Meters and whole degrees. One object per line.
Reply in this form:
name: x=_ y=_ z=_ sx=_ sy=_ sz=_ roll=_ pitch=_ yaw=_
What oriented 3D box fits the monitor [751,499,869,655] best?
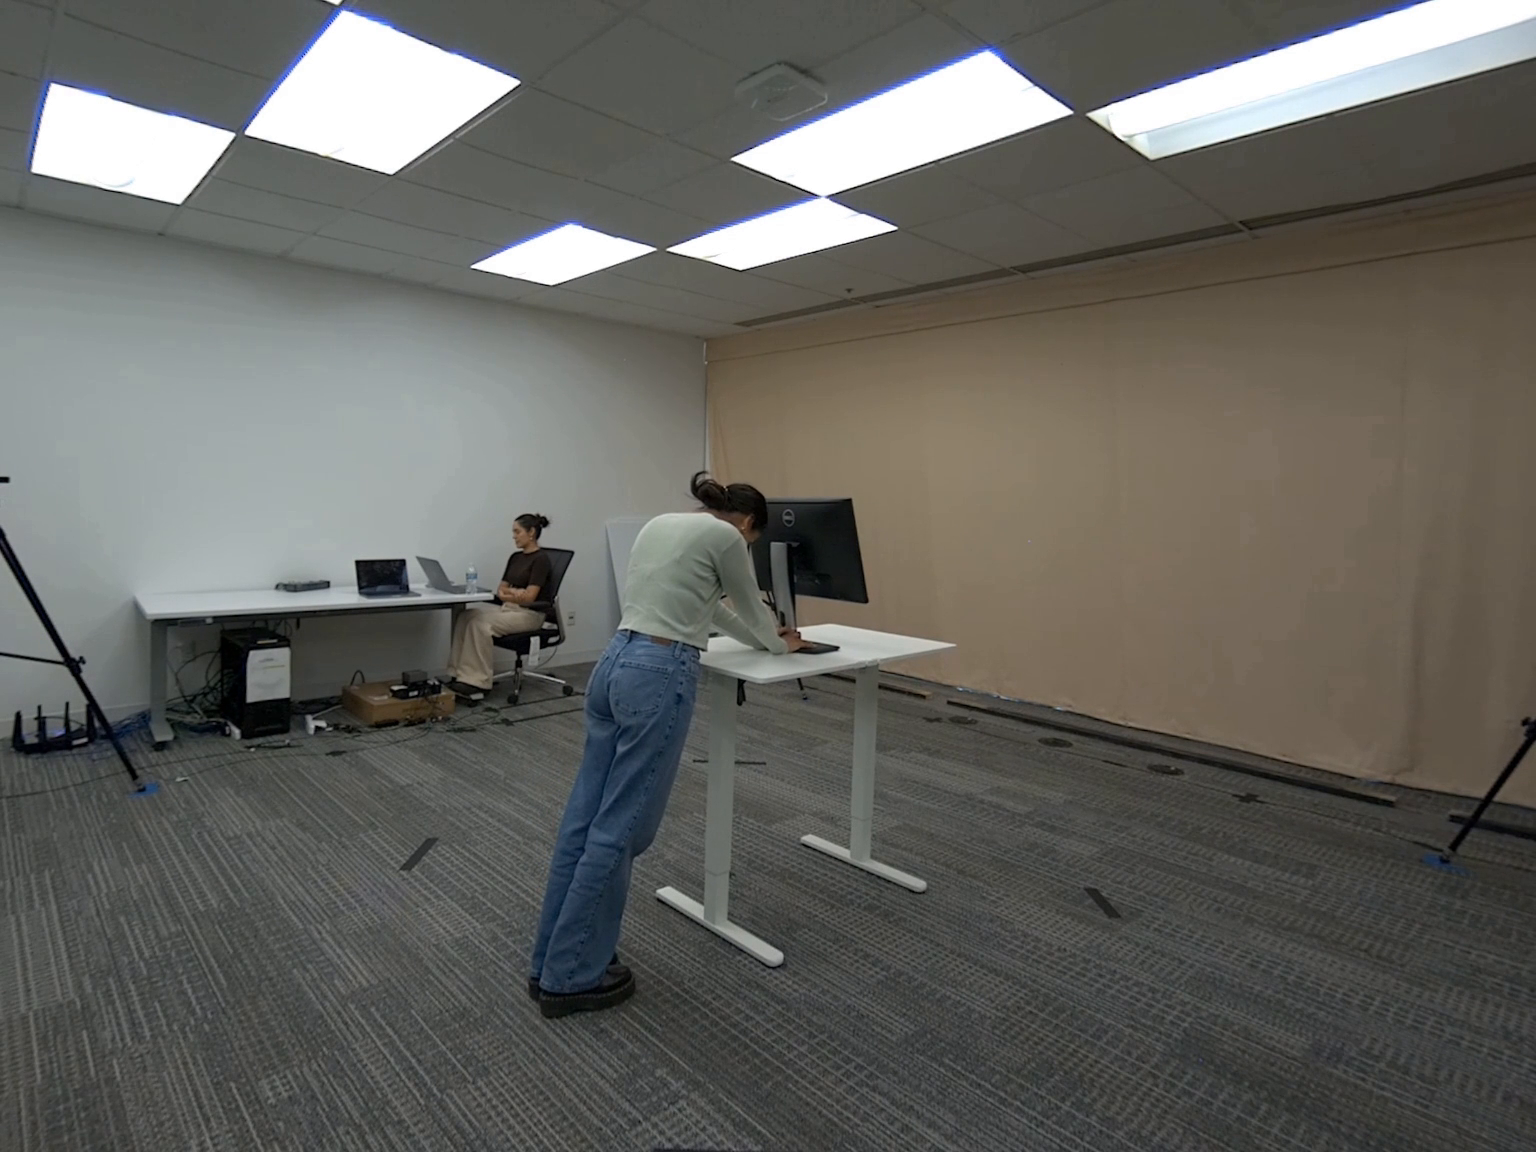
monitor: x=0.086 y=-0.005 z=2.878 sx=0.183 sy=0.521 sz=0.553 roll=-3 pitch=5 yaw=-42
